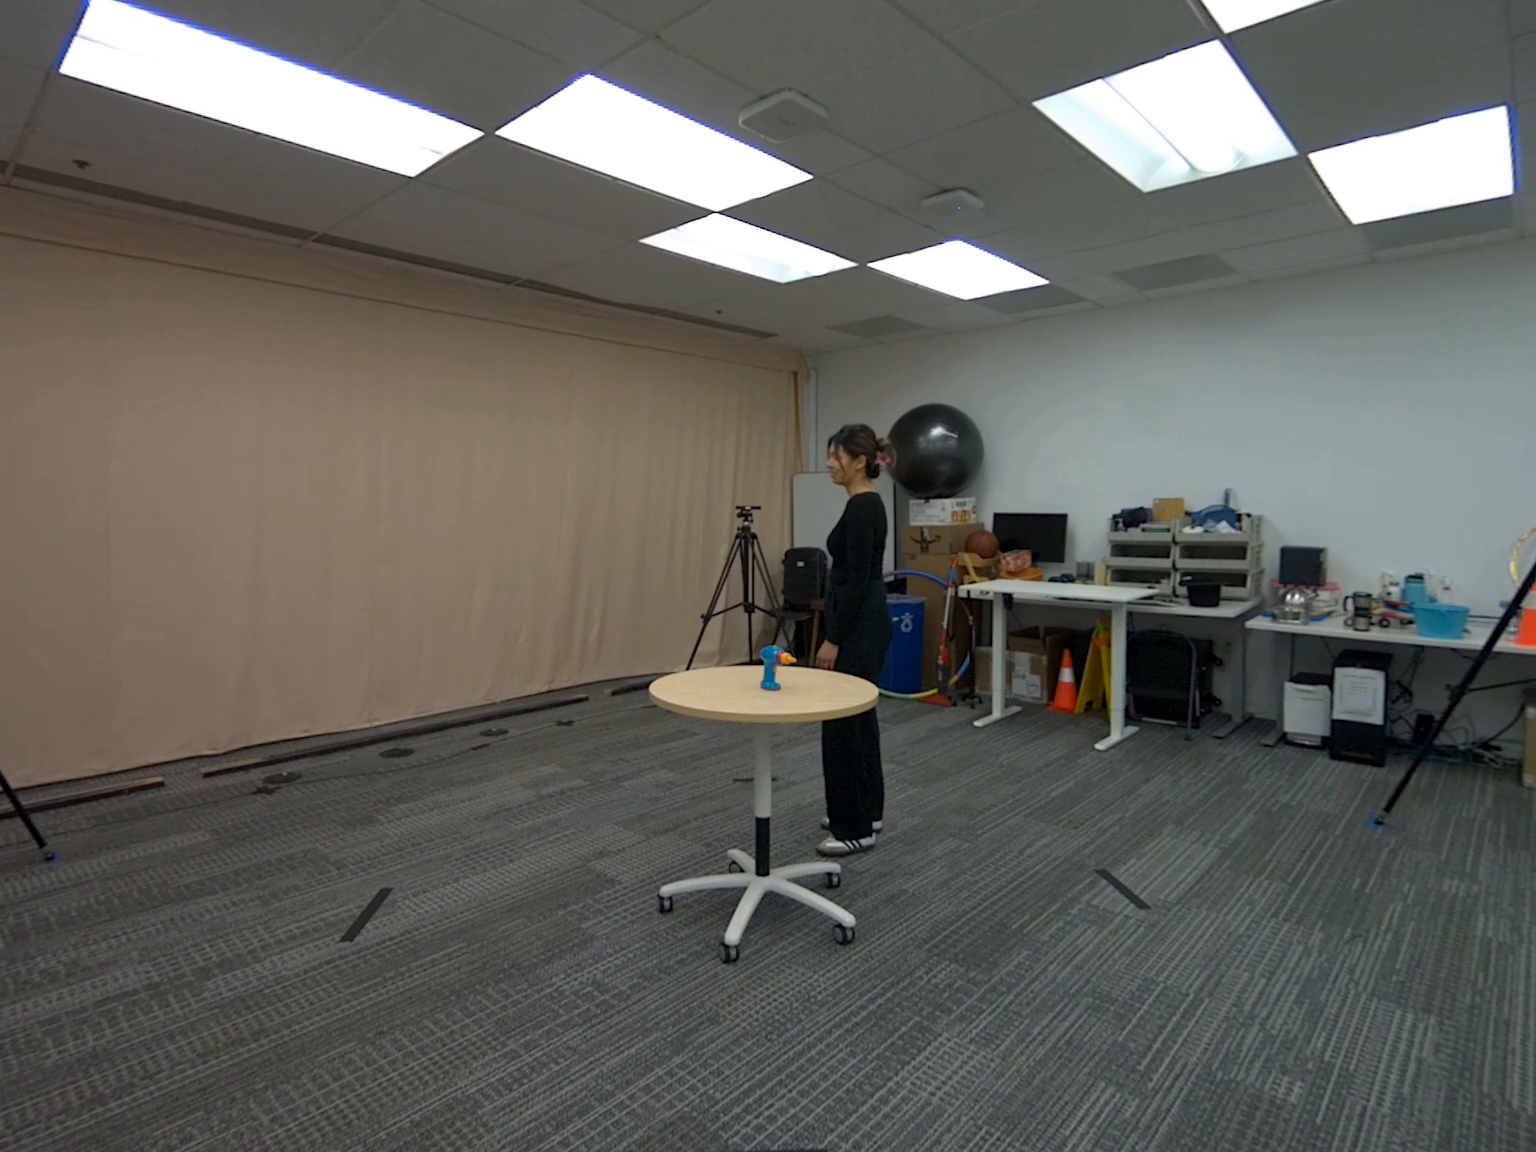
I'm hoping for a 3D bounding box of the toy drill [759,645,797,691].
[{"bbox_3d":[0.043,0.304,2.772,0.059,0.146,0.175,-1,3,-42],"label":"toy drill"}]
